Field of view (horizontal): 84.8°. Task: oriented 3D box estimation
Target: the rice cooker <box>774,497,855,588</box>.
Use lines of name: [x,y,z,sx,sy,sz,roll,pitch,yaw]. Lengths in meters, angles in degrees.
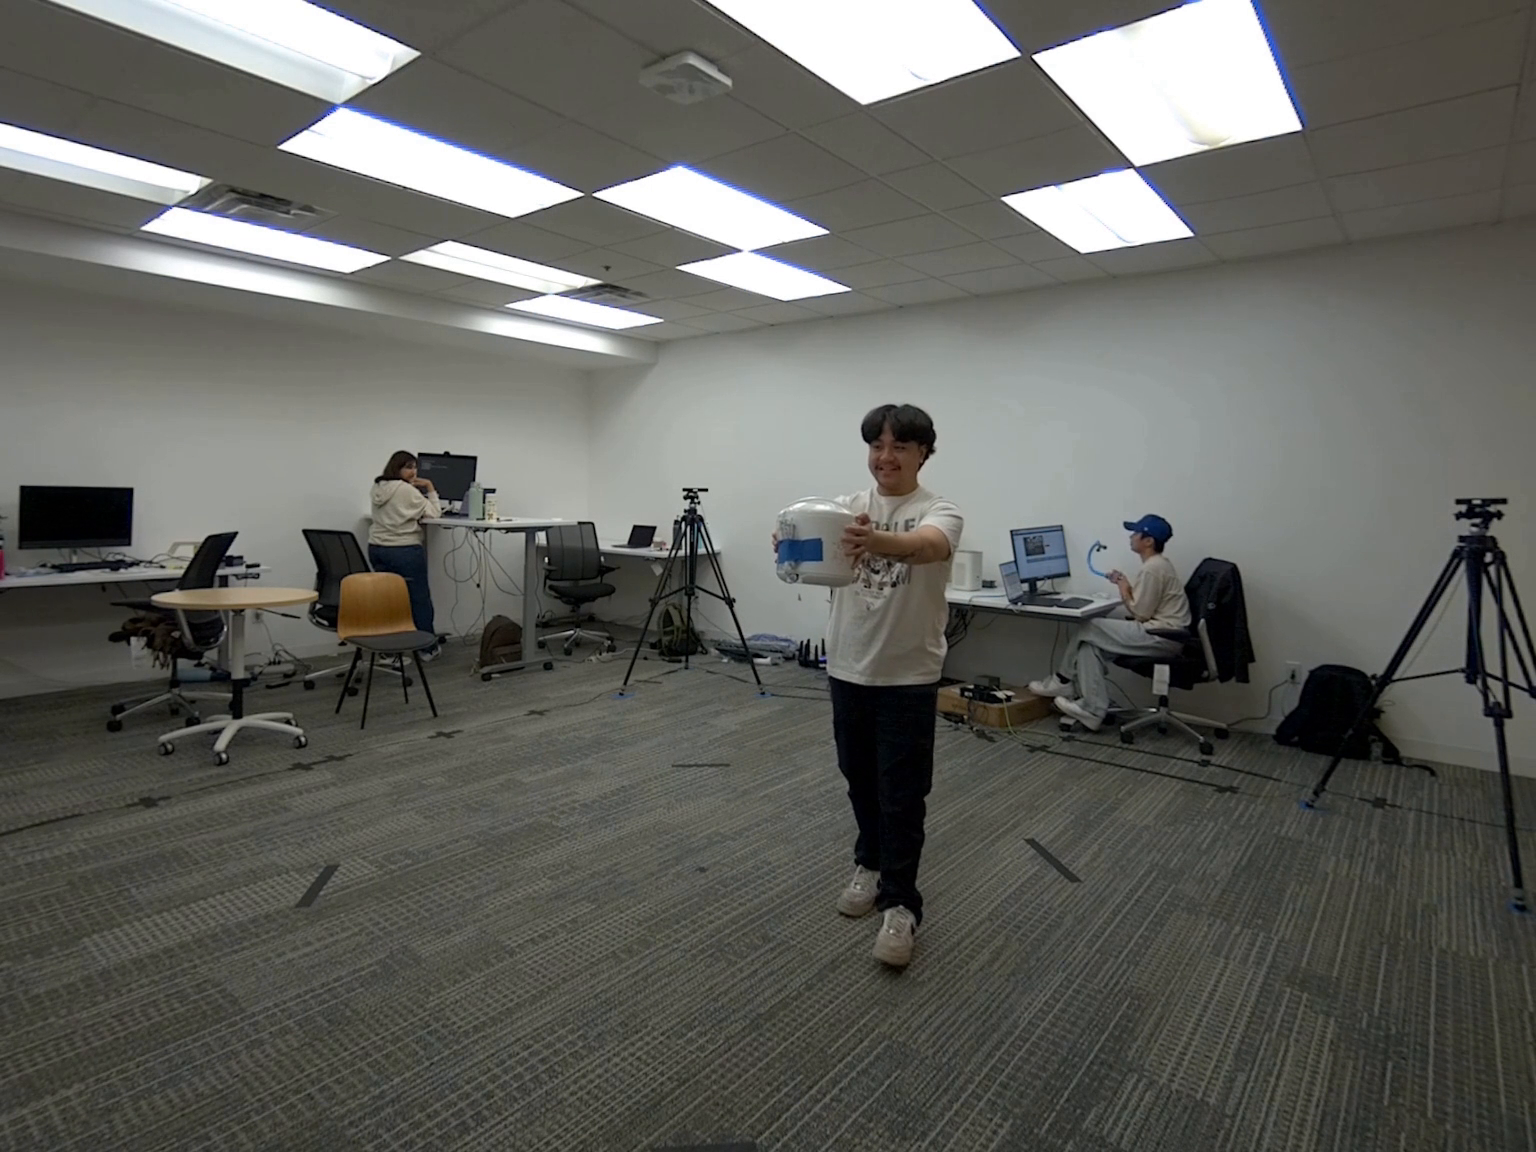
rice cooker: [0.116,-0.092,2.235,0.220,0.233,0.218,6,-2,-4]
